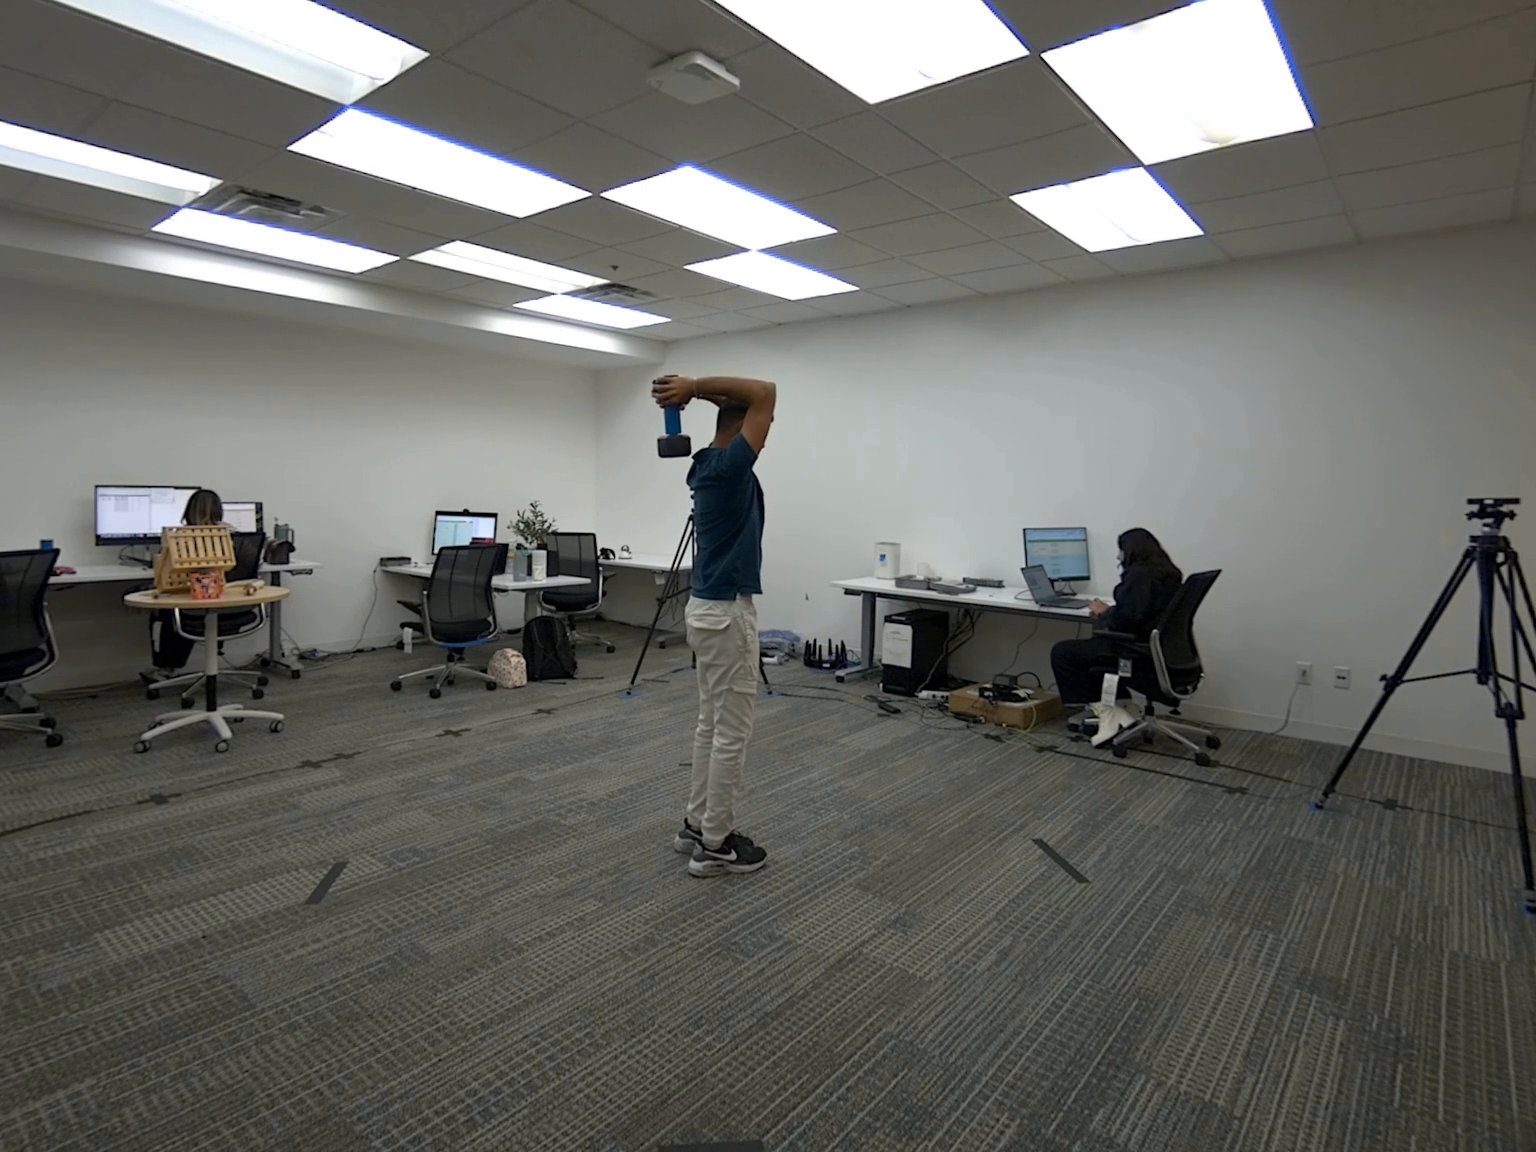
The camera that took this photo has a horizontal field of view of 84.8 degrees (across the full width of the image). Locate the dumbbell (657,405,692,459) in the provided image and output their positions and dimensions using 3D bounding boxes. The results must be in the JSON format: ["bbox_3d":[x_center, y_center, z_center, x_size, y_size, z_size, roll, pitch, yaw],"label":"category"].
[{"bbox_3d":[-0.354,-0.589,3.088,0.121,0.292,0.111,-6,4,-18],"label":"dumbbell"}]
